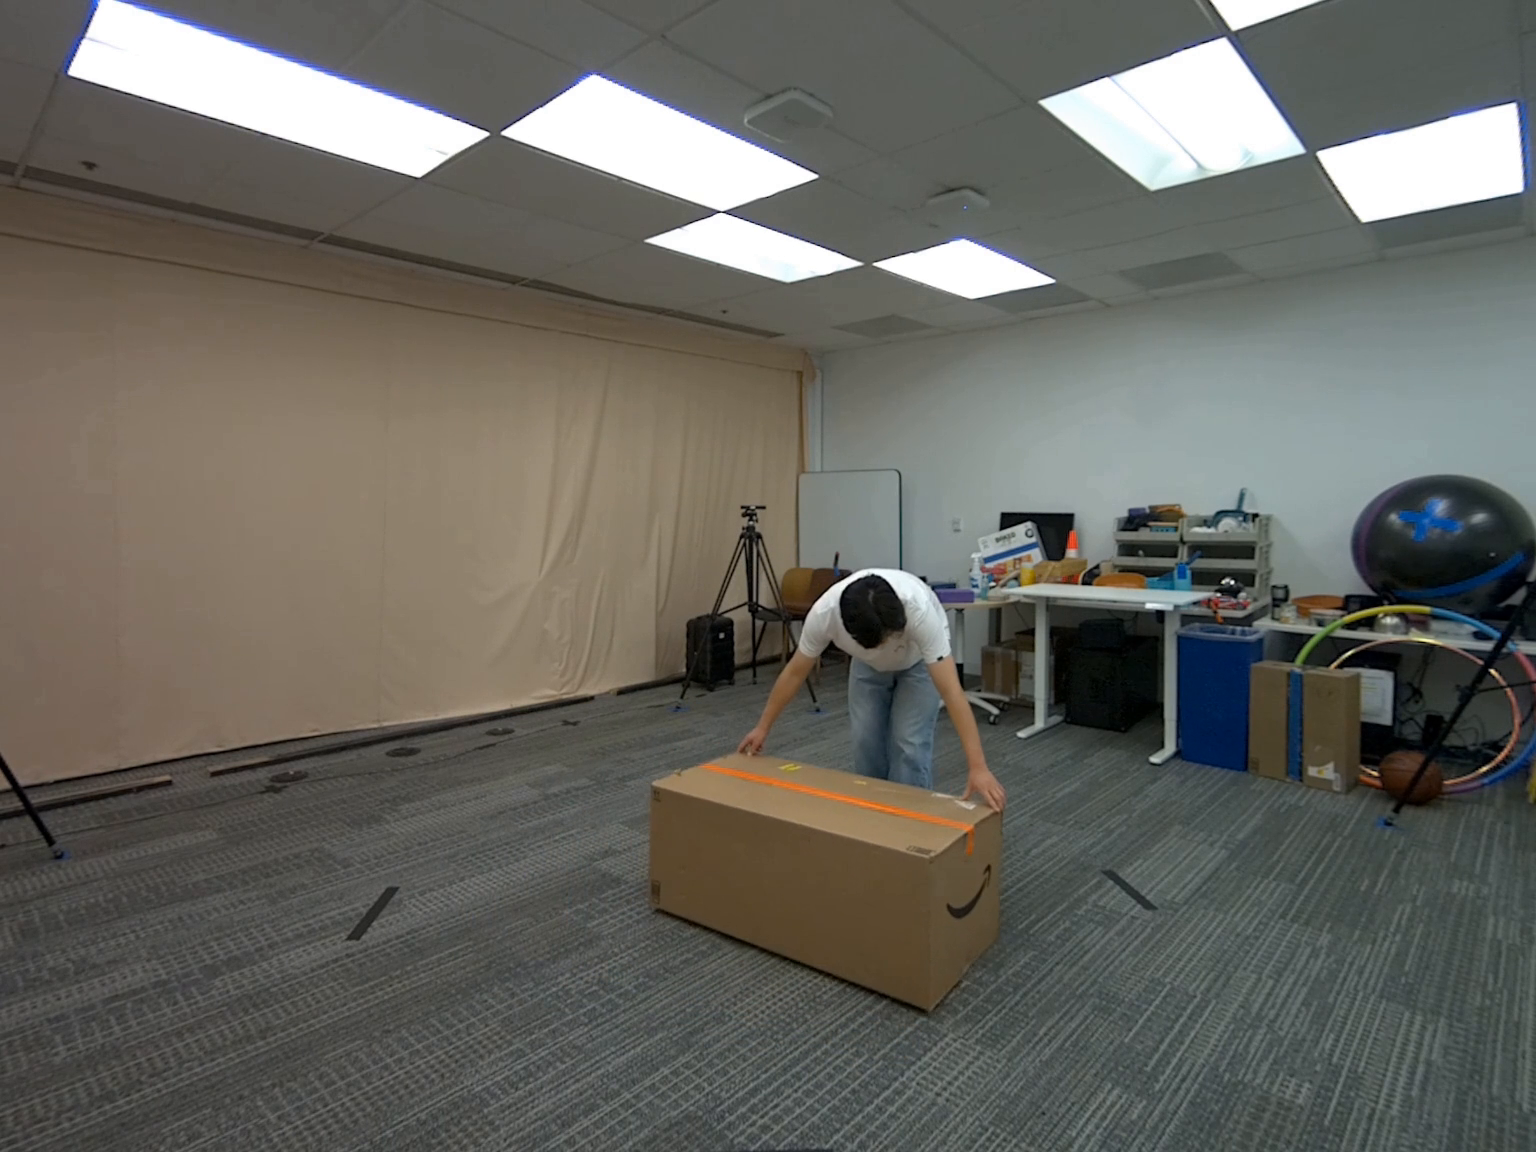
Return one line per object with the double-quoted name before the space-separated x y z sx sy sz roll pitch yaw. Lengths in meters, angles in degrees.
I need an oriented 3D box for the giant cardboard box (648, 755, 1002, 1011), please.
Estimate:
"giant cardboard box" 0.171 0.935 2.801 1.059 0.426 0.560 3 3 36
